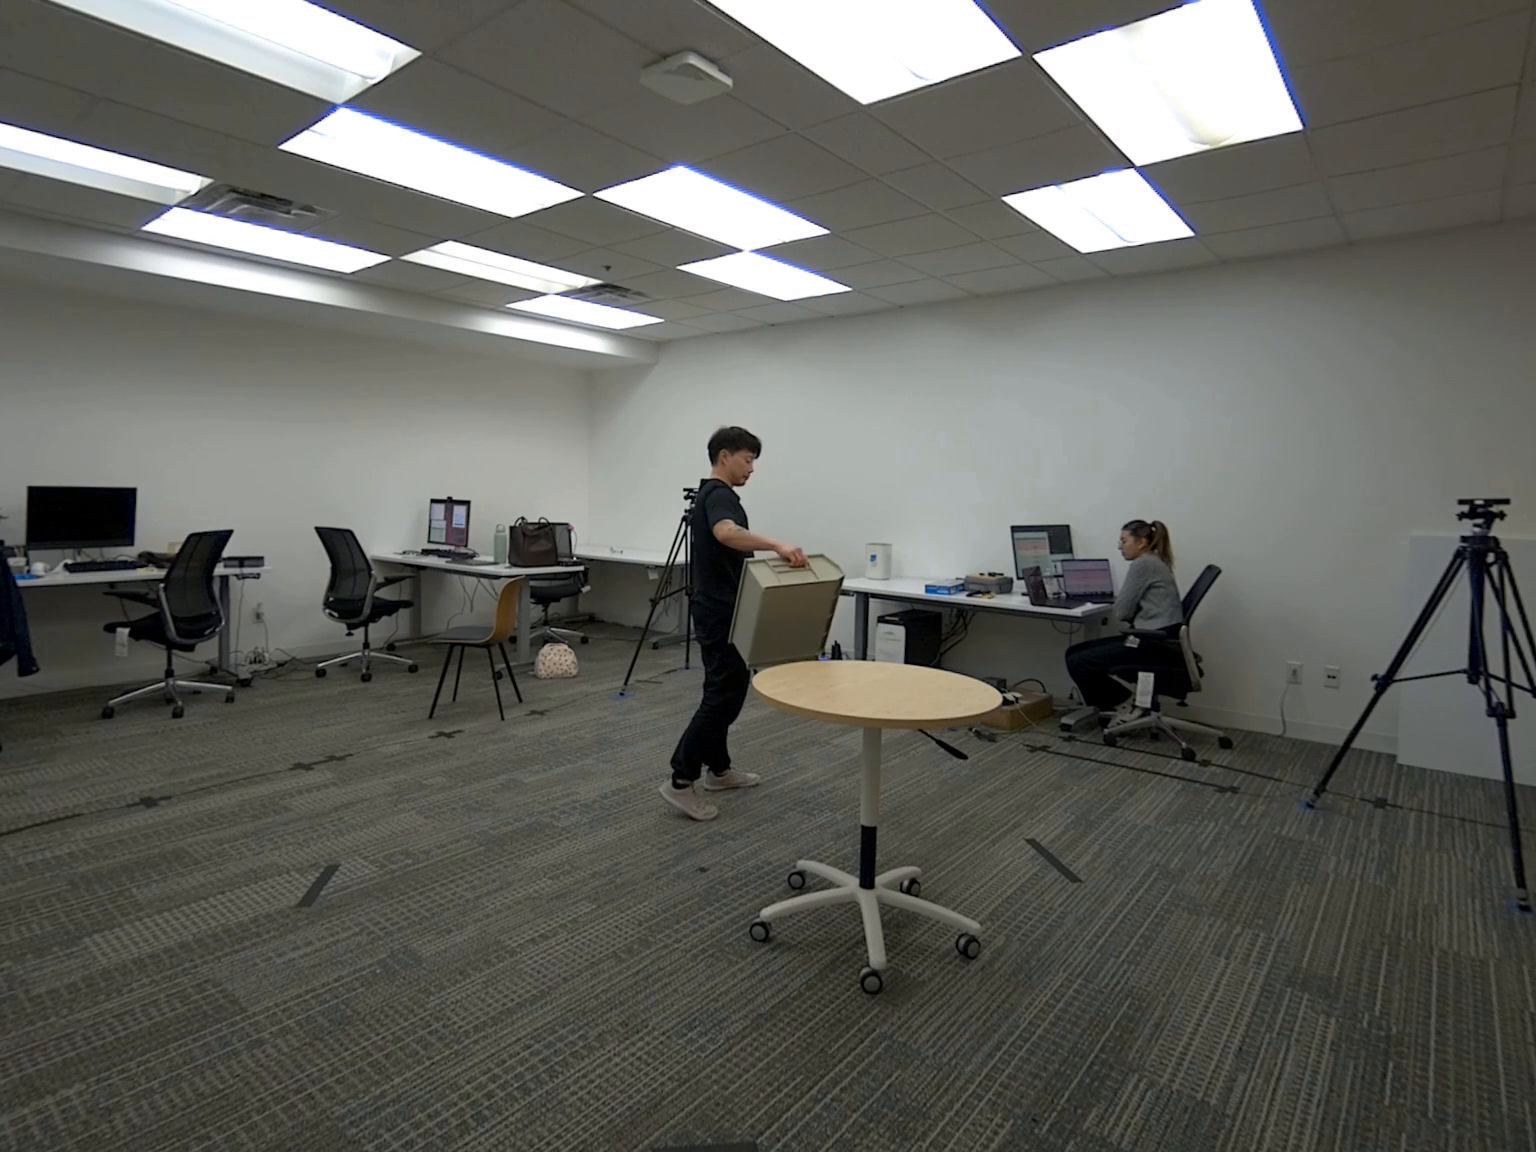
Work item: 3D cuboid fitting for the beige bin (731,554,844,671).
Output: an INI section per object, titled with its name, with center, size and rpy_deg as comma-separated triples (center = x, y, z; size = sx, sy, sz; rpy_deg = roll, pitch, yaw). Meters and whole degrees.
[beige bin]
center = 0.062, 0.137, 3.412
size = 0.370, 0.414, 0.197
rpy_deg = -5, 37, -23
